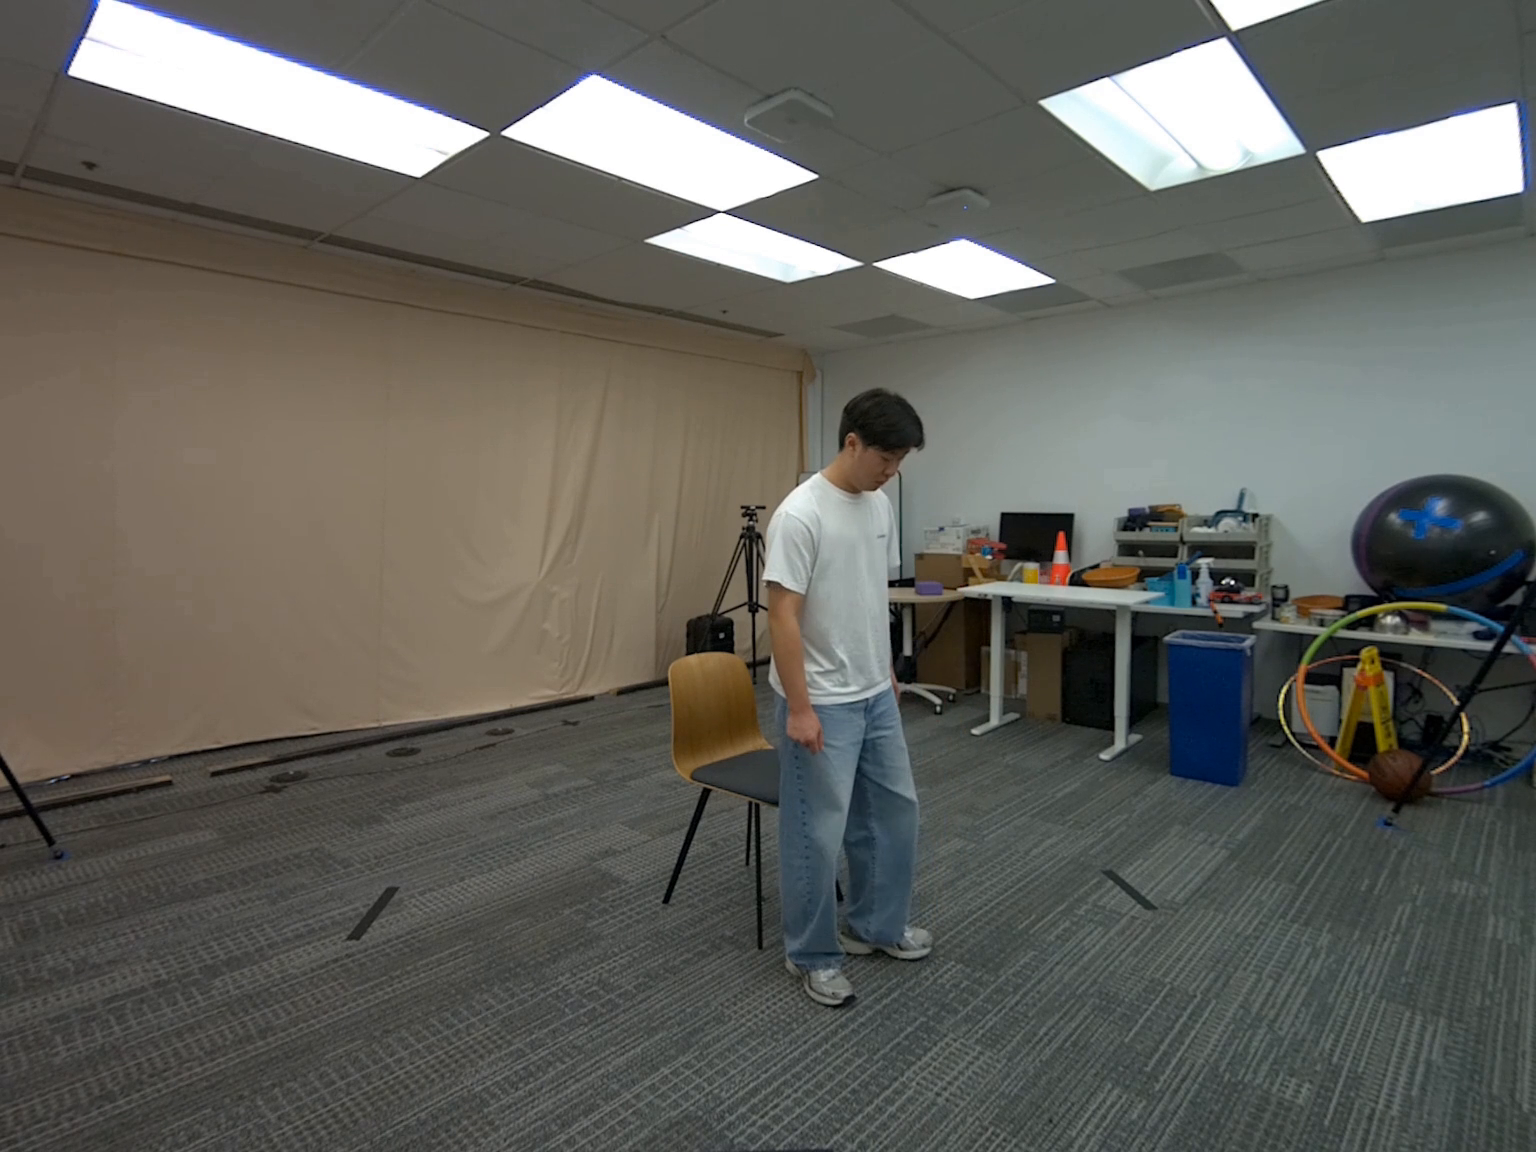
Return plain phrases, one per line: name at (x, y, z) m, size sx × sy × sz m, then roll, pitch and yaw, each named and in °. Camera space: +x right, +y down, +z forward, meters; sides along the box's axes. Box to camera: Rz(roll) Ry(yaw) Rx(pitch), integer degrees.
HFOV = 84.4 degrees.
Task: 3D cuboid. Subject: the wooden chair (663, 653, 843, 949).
wooden chair at (-0.046, 0.722, 2.922) m, size 0.539 × 0.877 × 0.463 m, roll -3°, pitch 0°, yaw 42°
